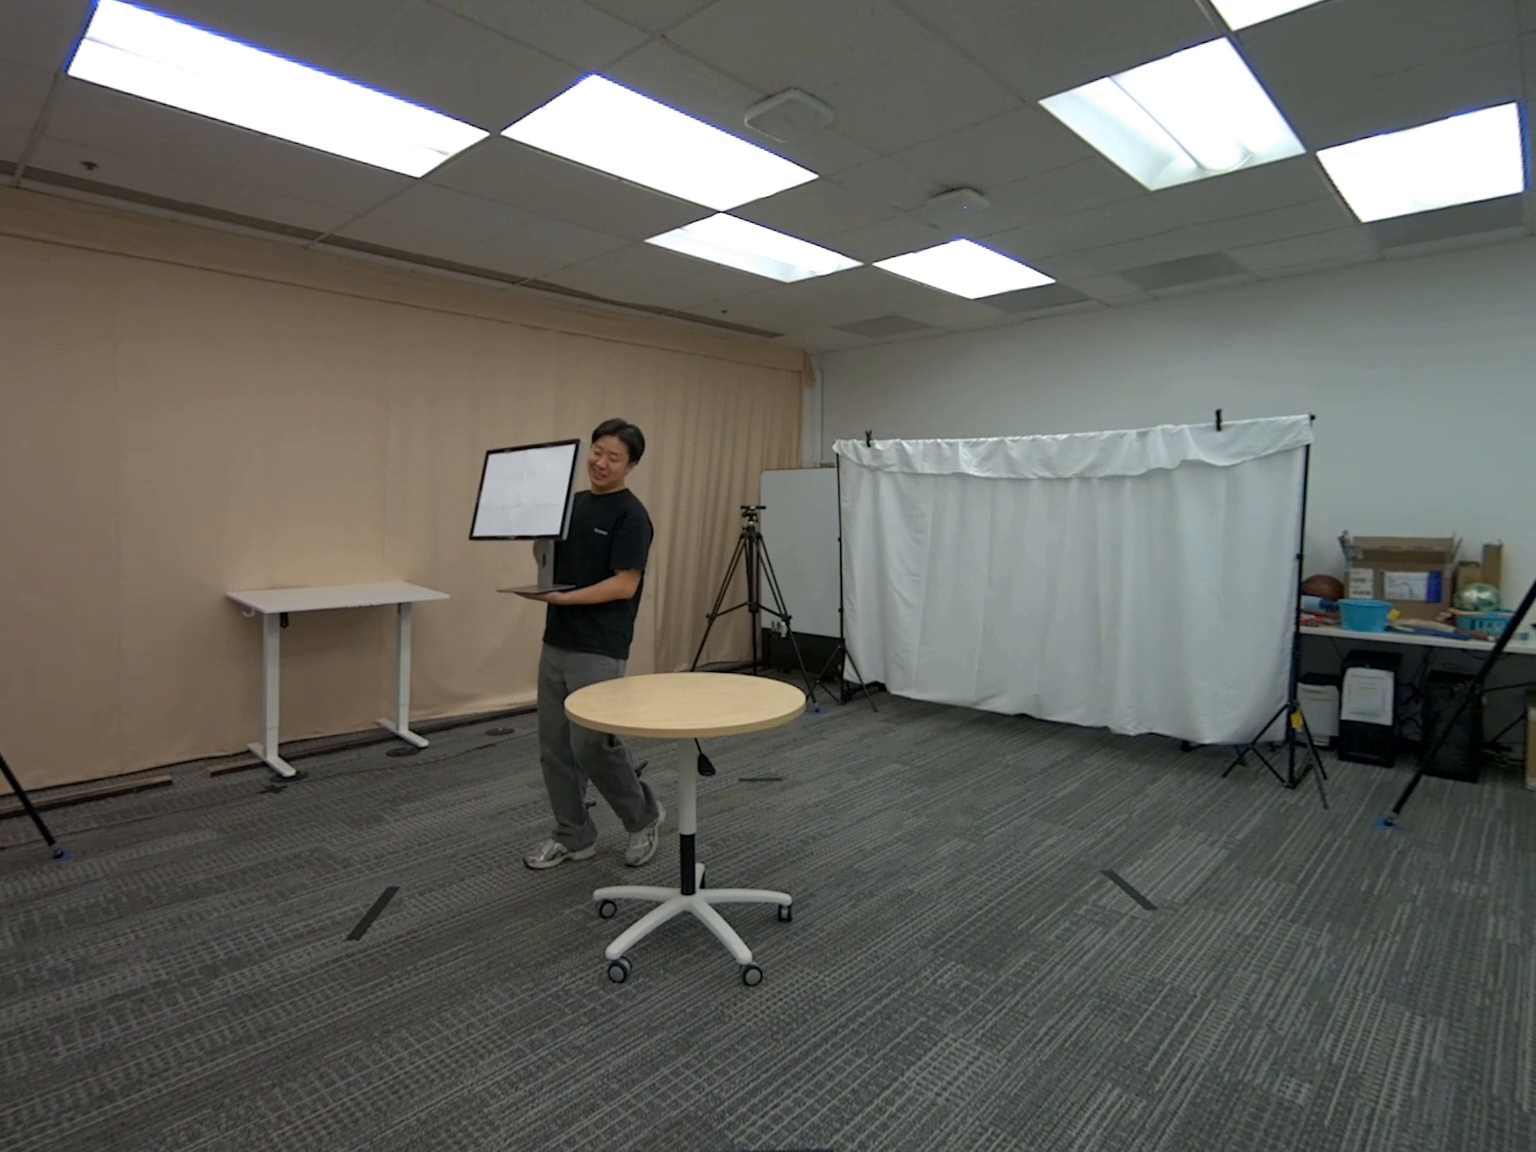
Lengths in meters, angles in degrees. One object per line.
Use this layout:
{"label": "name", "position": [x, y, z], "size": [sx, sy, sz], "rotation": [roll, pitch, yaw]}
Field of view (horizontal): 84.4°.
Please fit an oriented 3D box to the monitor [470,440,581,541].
{"label": "monitor", "position": [-0.869, -0.202, 3.134], "size": [0.580, 0.565, 0.215], "rotation": [0, 3, 43]}
